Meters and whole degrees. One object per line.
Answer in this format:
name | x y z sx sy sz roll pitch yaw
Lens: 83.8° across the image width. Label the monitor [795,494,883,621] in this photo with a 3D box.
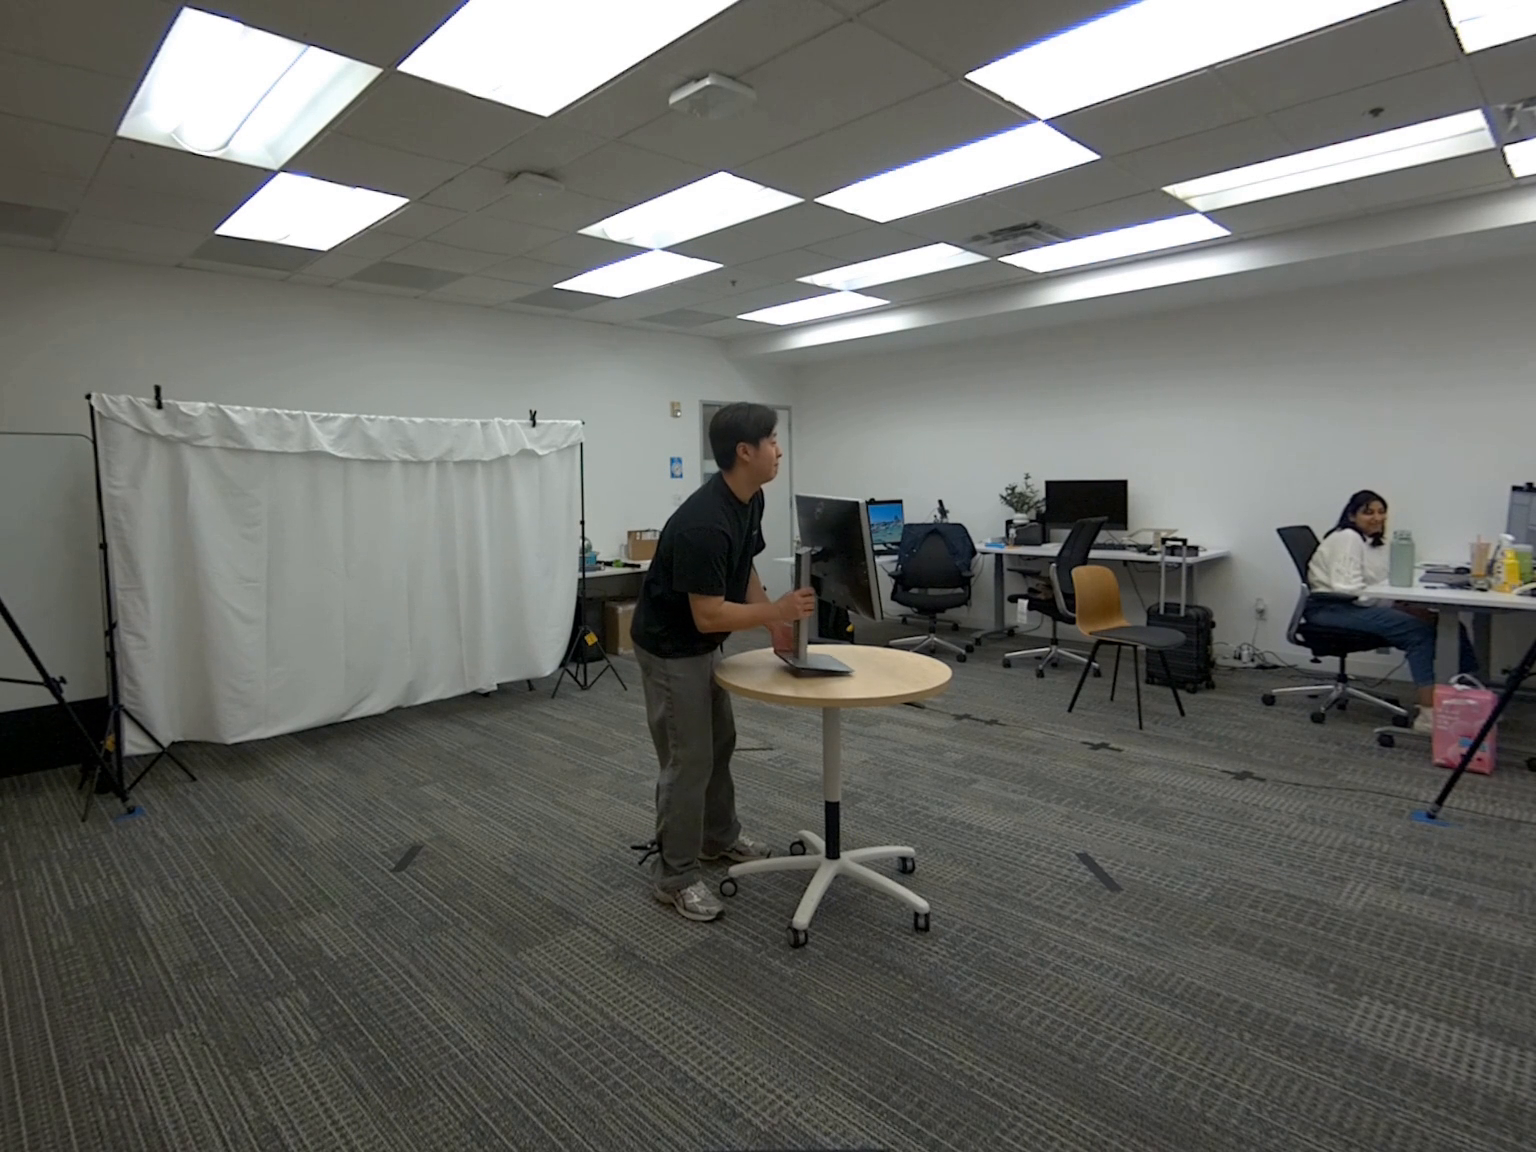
monitor | 0.179 0.021 2.755 0.219 0.564 0.571 5 4 -15
